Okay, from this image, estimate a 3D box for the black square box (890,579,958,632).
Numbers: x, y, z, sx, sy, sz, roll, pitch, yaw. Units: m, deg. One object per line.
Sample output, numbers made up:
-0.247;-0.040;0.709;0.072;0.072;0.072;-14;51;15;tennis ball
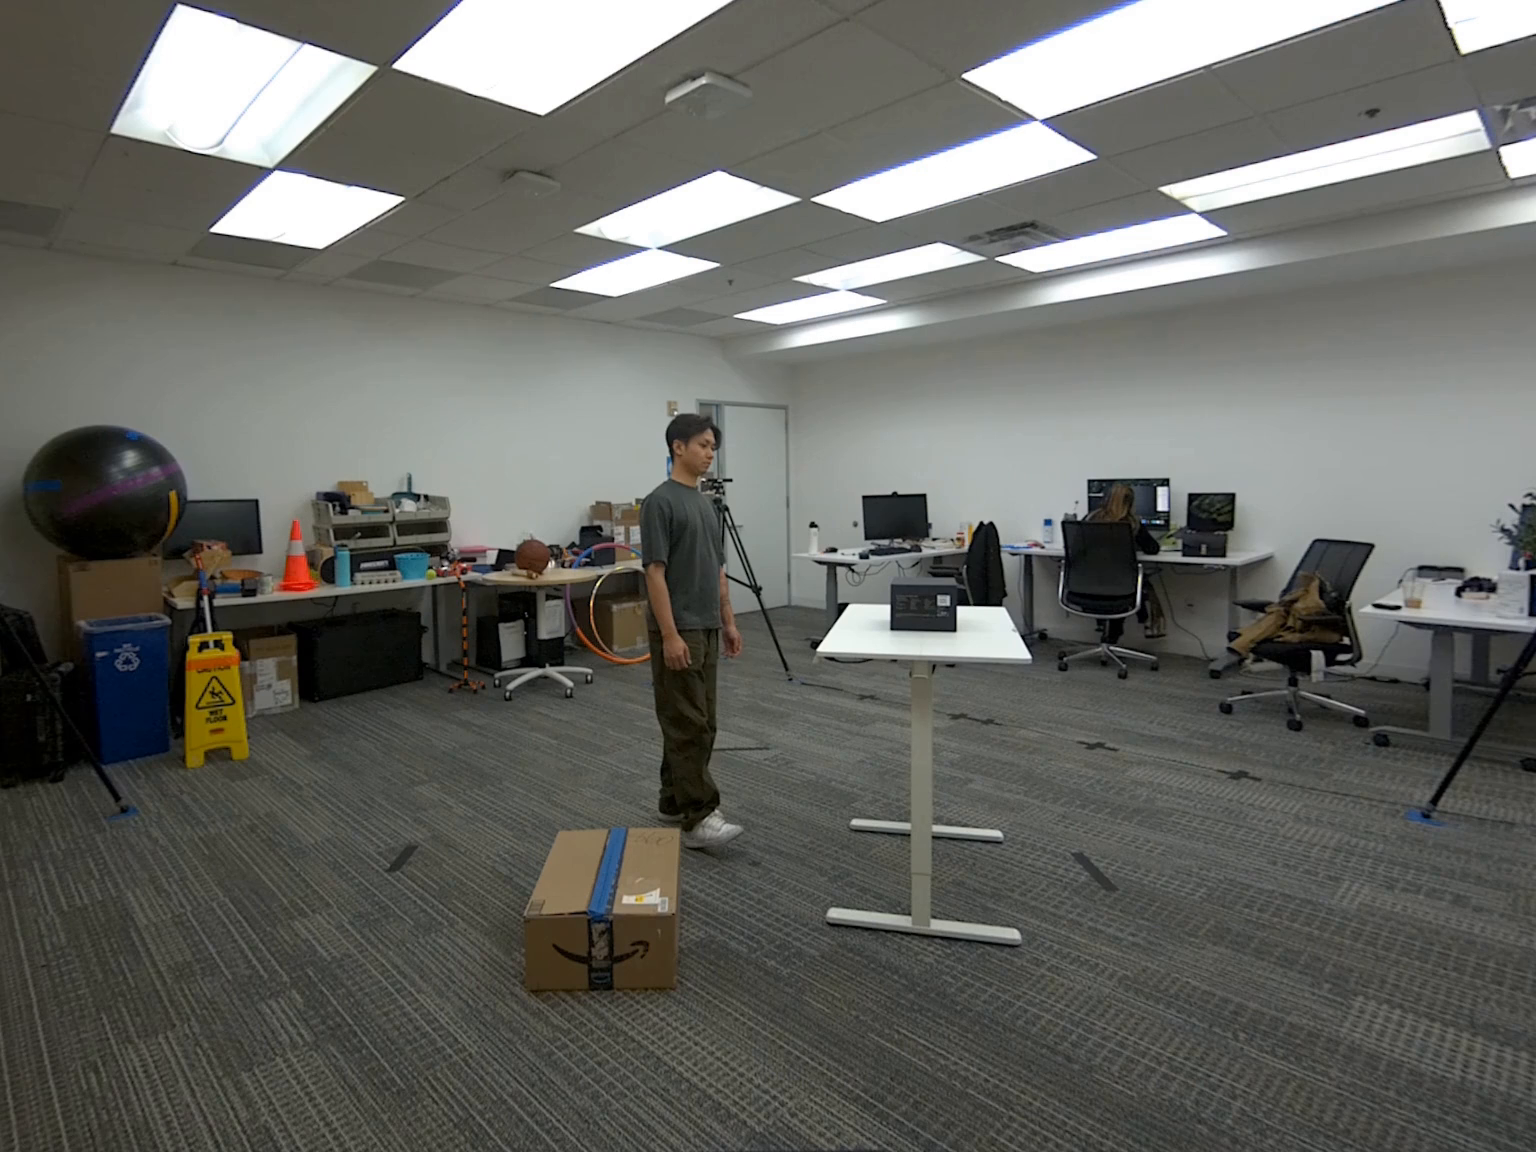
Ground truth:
0.537;0.090;2.928;0.220;0.155;0.225;1;5;13;black square box
